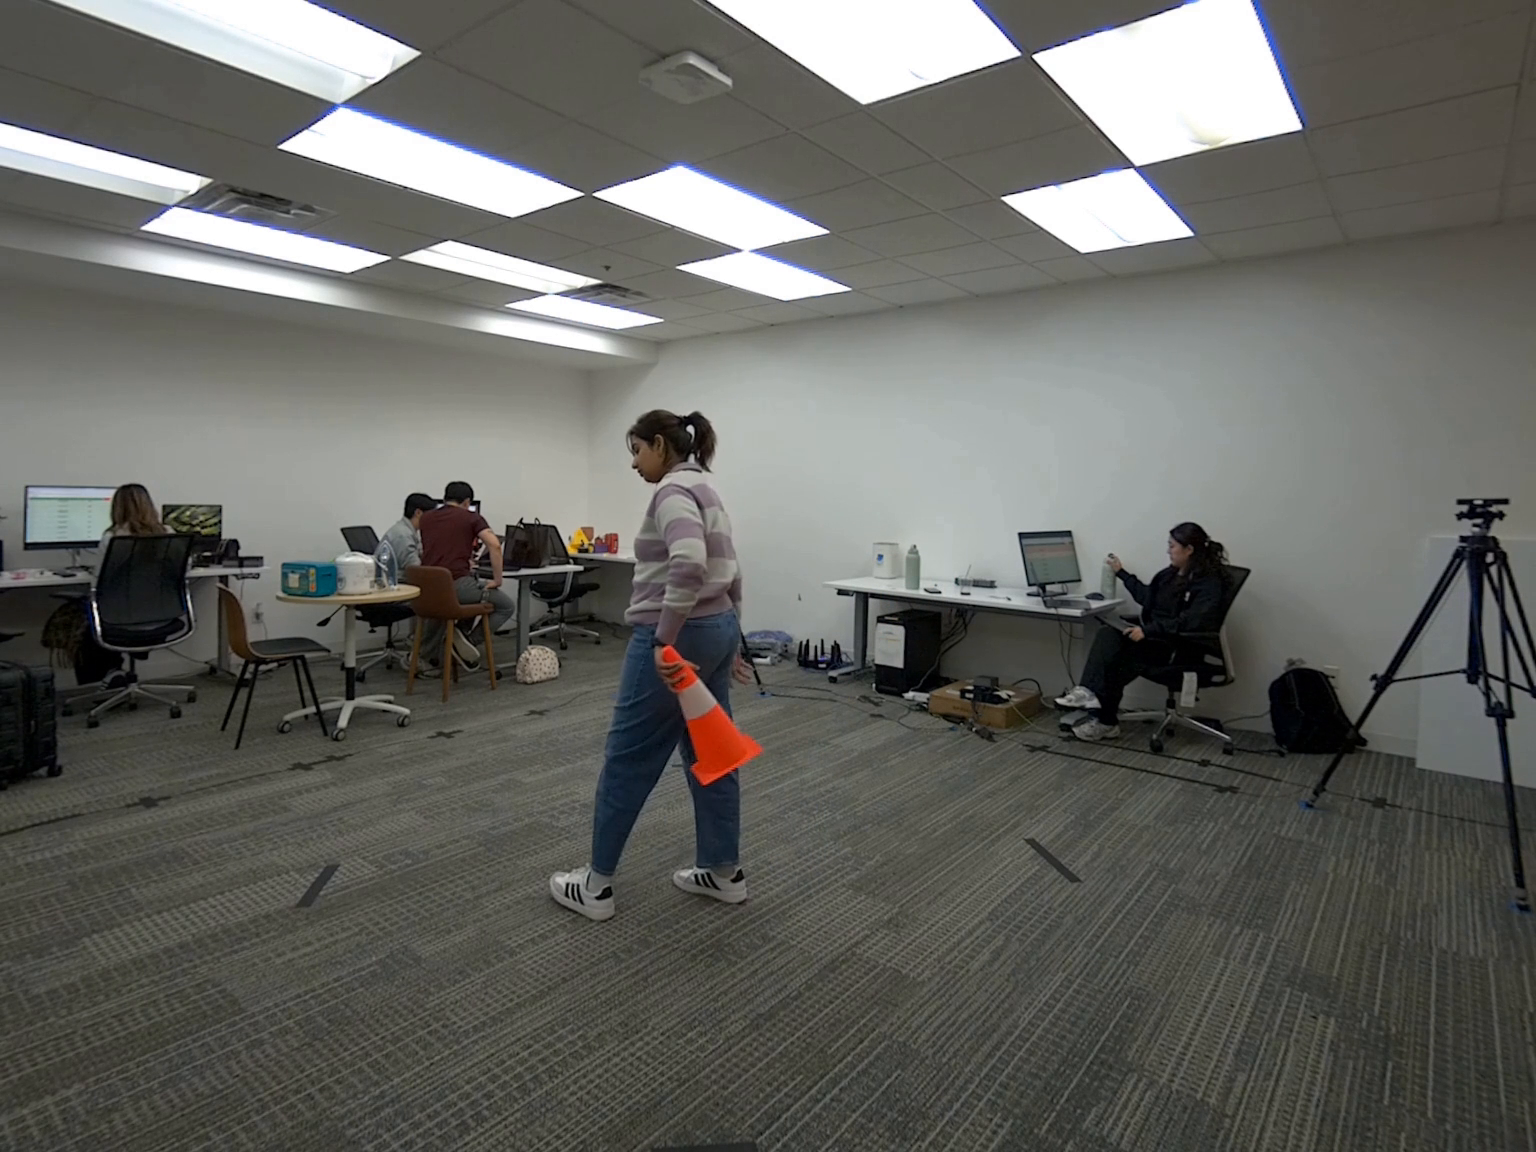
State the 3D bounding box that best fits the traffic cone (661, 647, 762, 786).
[{"bbox_3d":[-0.213,0.365,2.485,0.203,0.379,0.207,-28,10,-16],"label":"traffic cone"}]
